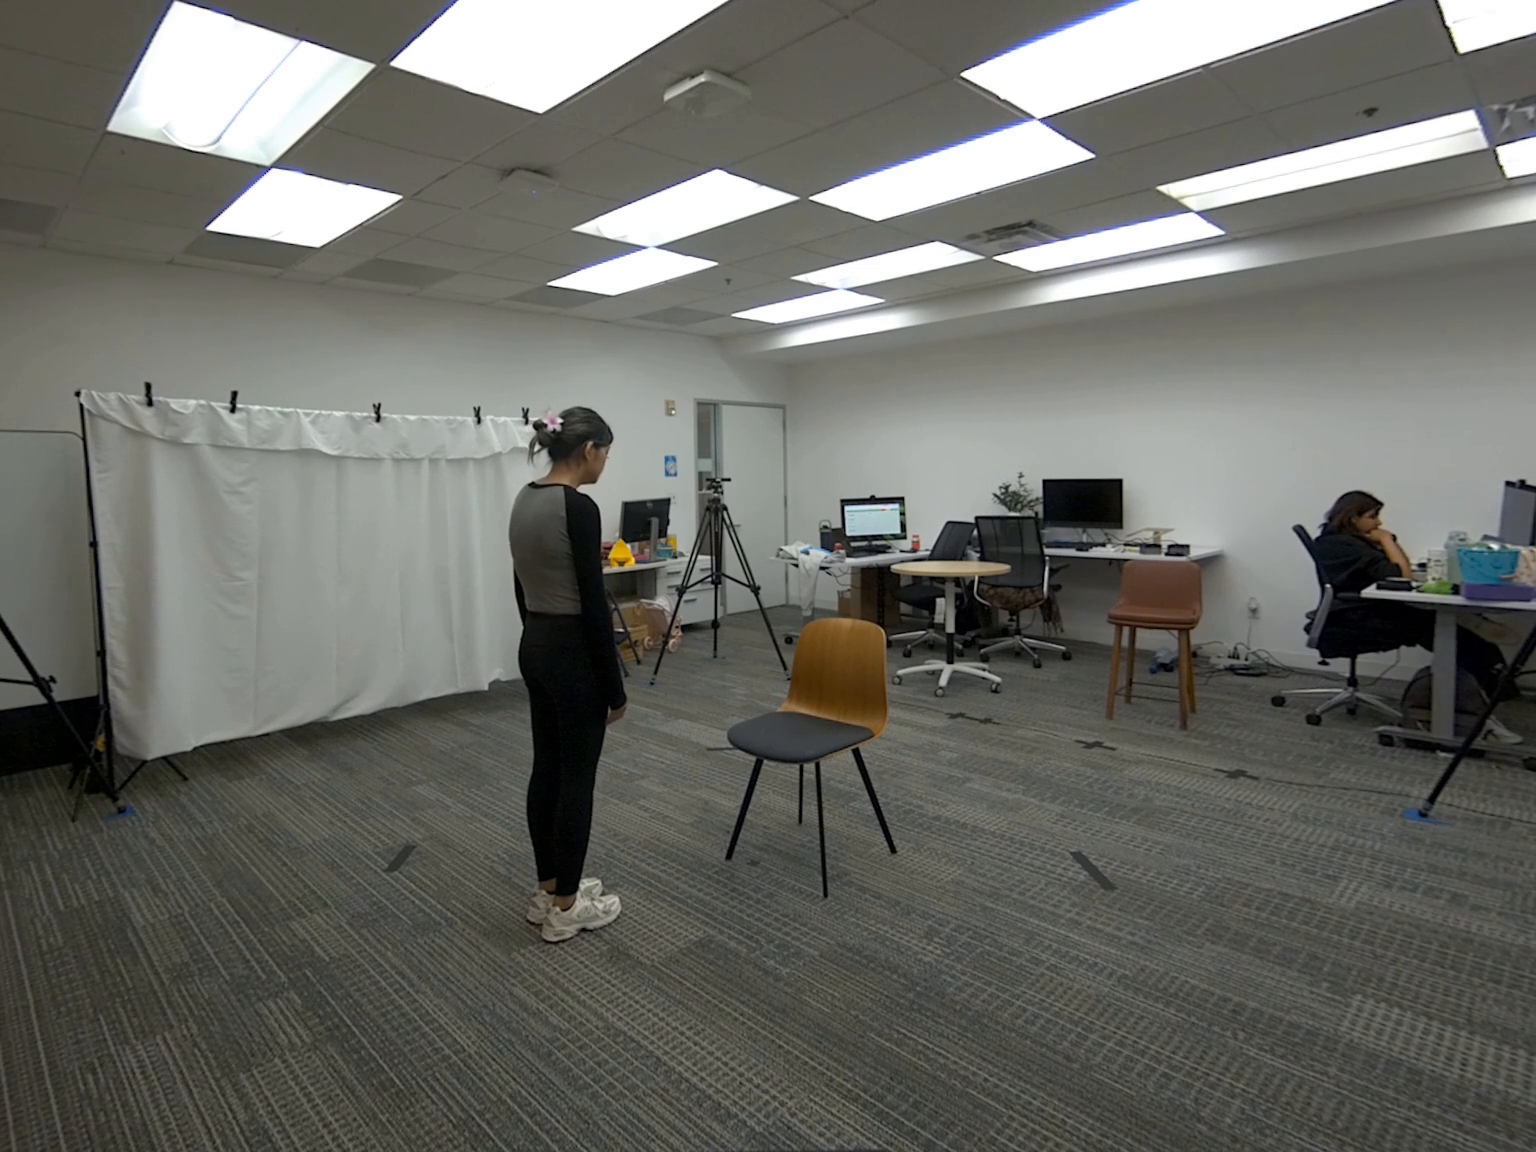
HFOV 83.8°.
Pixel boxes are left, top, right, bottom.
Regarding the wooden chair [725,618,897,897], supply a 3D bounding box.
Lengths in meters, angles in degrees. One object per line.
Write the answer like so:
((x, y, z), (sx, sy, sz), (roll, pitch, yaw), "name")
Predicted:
((0.151, 0.609, 3.110), (0.493, 0.877, 0.508), (3, 1, 41), "wooden chair")
